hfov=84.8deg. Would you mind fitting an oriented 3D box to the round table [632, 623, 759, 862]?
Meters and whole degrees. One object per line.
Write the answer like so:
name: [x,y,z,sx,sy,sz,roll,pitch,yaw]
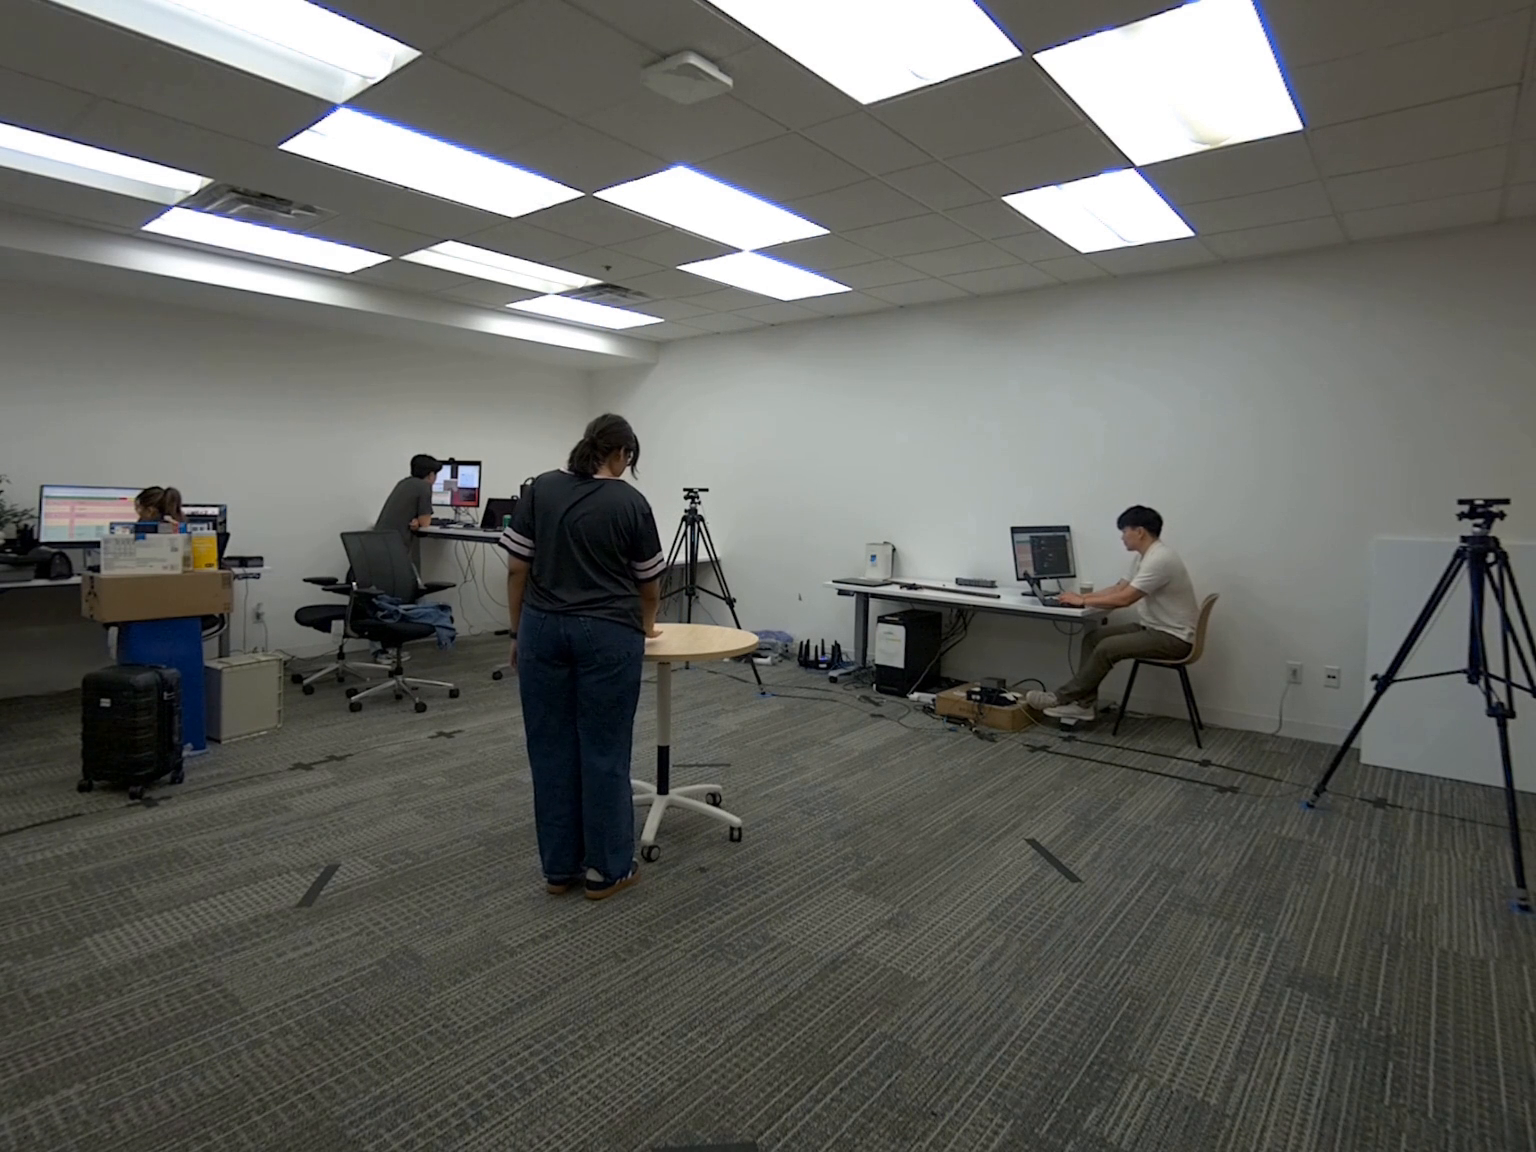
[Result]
round table: [-0.449,0.637,3.481,0.784,0.784,0.789,1,4,-2]
